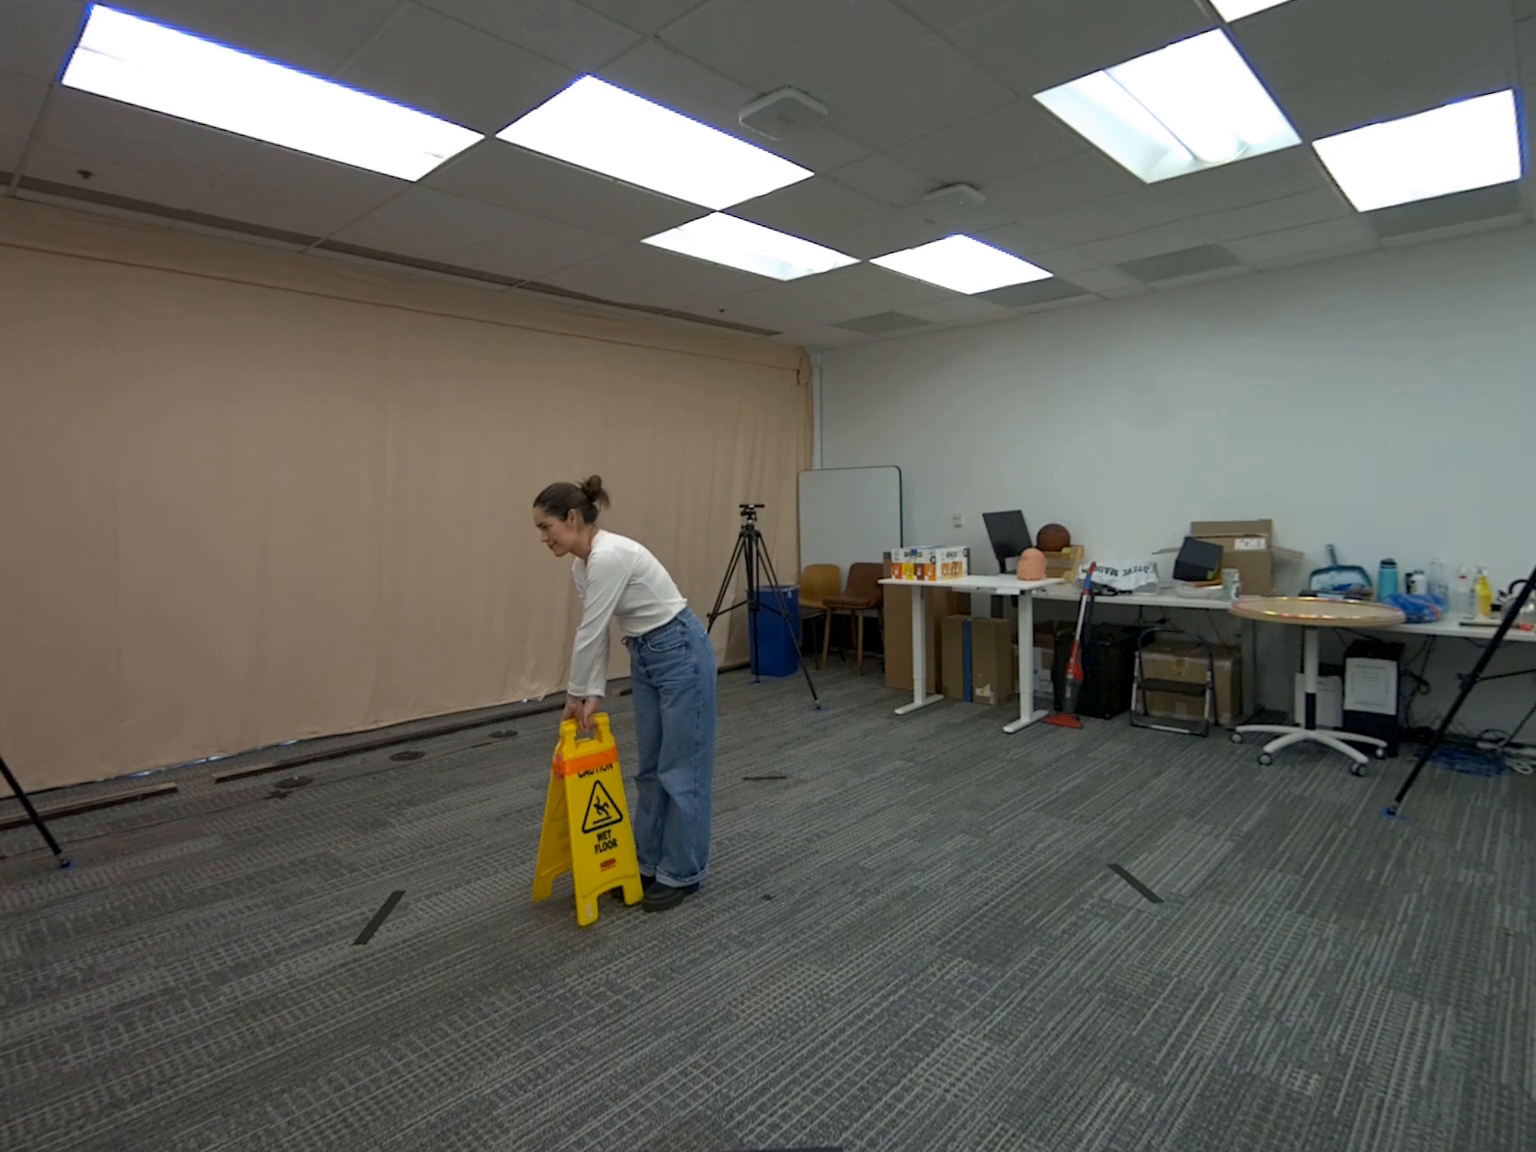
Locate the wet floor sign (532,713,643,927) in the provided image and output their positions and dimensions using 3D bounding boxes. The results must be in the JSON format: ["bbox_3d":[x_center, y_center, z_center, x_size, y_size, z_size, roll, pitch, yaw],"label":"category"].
[{"bbox_3d":[-0.637,0.802,2.926,0.299,0.645,0.273,3,4,42],"label":"wet floor sign"}]
